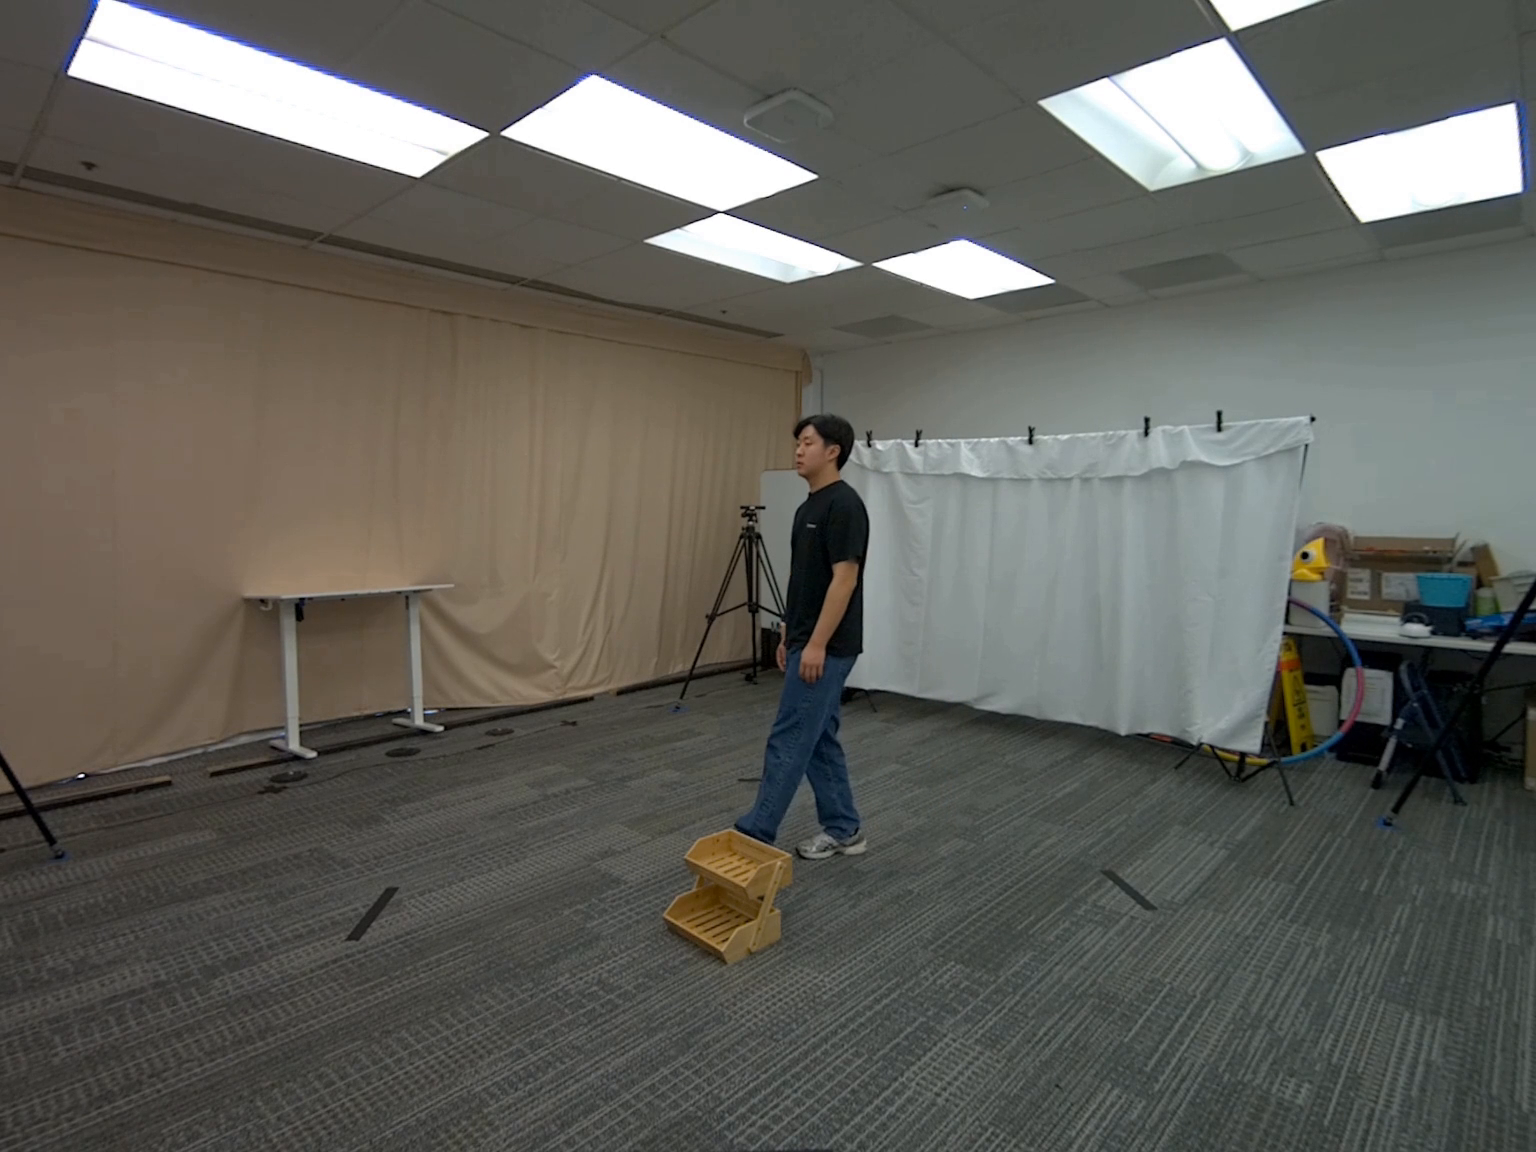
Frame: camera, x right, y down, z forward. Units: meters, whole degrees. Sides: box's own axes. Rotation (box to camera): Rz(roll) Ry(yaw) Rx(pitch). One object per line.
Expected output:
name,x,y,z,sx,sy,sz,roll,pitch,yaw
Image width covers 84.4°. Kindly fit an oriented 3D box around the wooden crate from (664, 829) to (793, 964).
wooden crate,-0.132,1.031,2.748,0.293,0.273,0.335,-3,5,-43
